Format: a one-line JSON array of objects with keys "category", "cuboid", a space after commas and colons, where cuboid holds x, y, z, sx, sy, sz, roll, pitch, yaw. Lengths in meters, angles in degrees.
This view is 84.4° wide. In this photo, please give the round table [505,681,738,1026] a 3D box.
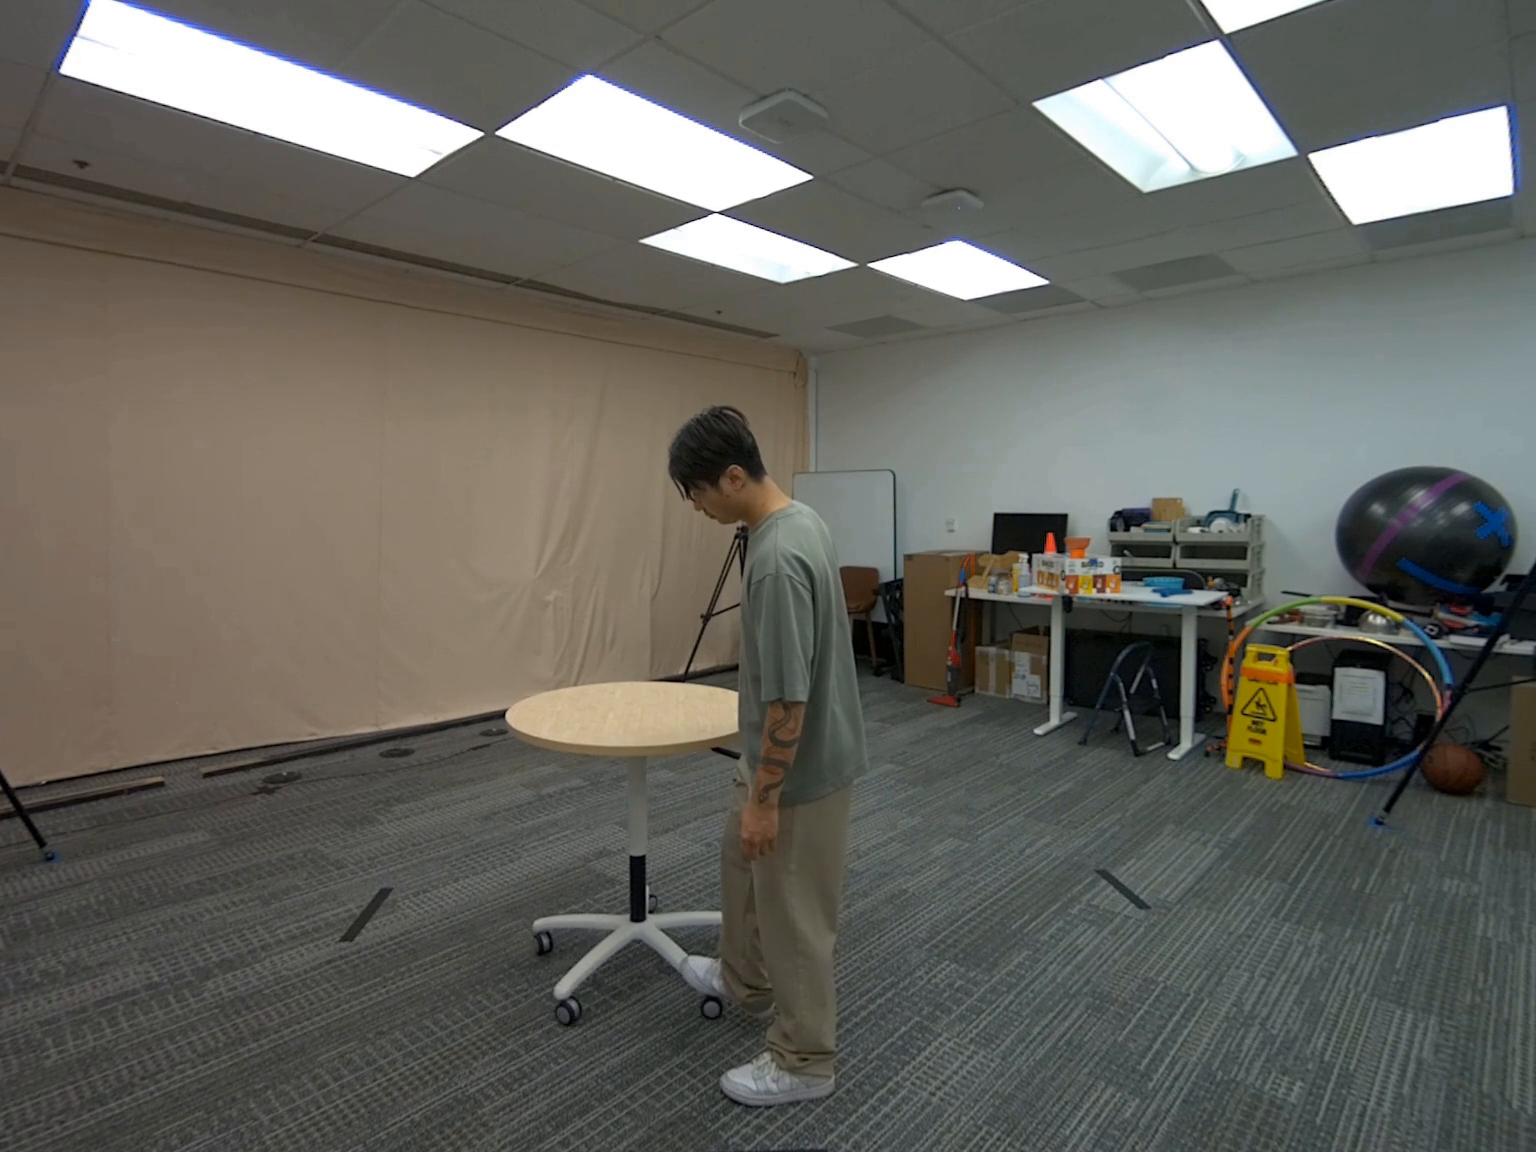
[{"category": "round table", "cuboid": [-0.376, 0.789, 2.549, 0.784, 0.785, 0.788, 0, 4, -2]}]
